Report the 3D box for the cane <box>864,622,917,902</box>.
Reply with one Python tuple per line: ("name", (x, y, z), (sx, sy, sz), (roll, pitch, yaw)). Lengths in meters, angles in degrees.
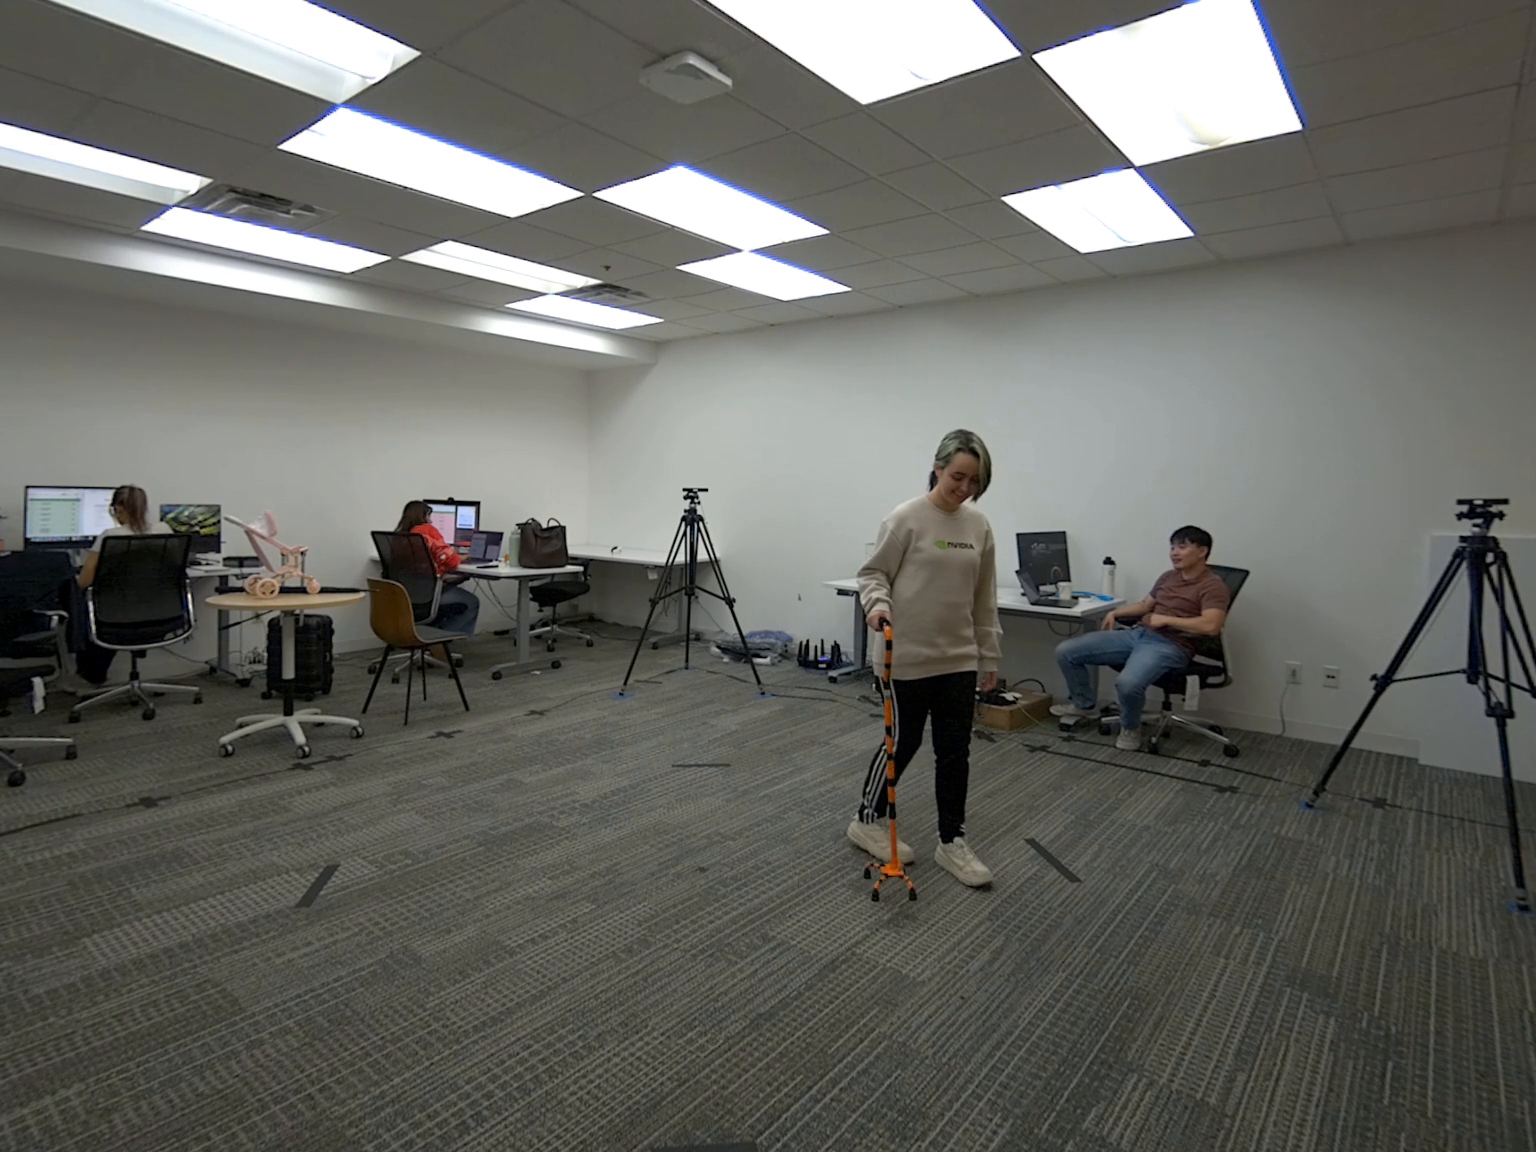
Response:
("cane", (0.387, 0.605, 2.874), (0.151, 0.907, 0.208), (-2, 1, -5))
